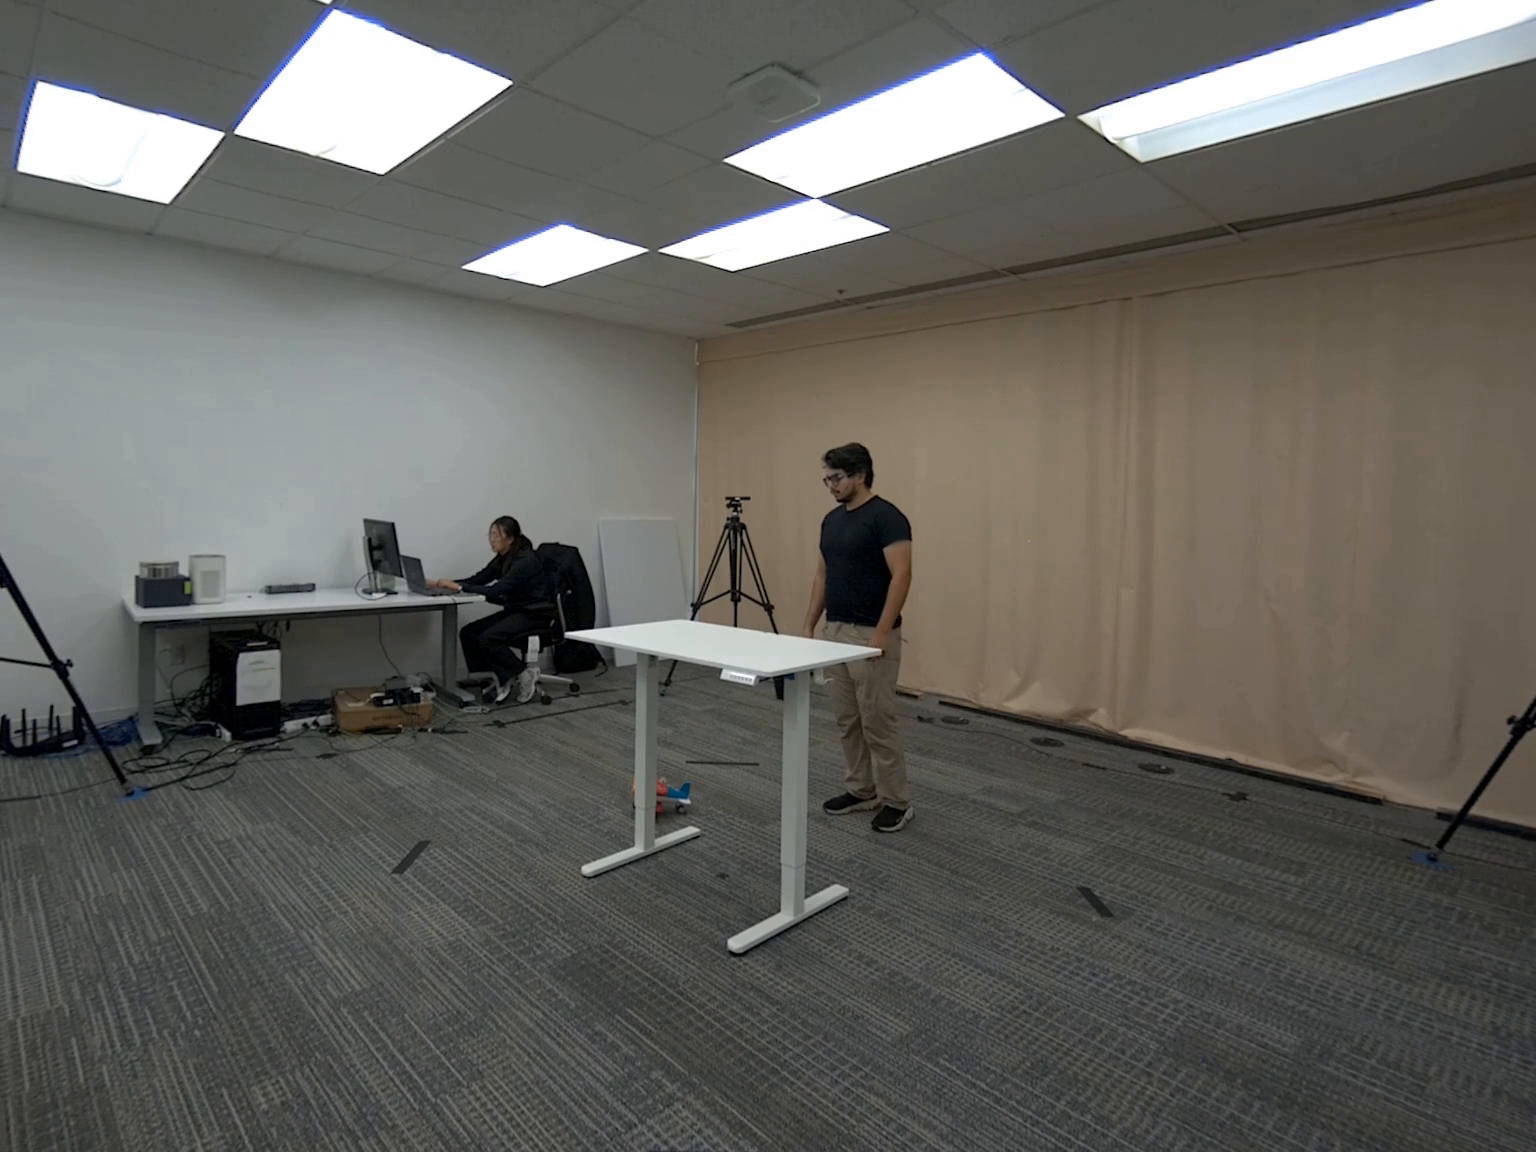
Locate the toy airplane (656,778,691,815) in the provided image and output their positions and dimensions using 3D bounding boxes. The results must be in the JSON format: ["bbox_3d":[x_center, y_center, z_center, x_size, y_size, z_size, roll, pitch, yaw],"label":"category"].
[{"bbox_3d":[-0.479,0.967,3.723,0.253,0.156,0.257,-5,7,-43],"label":"toy airplane"}]
